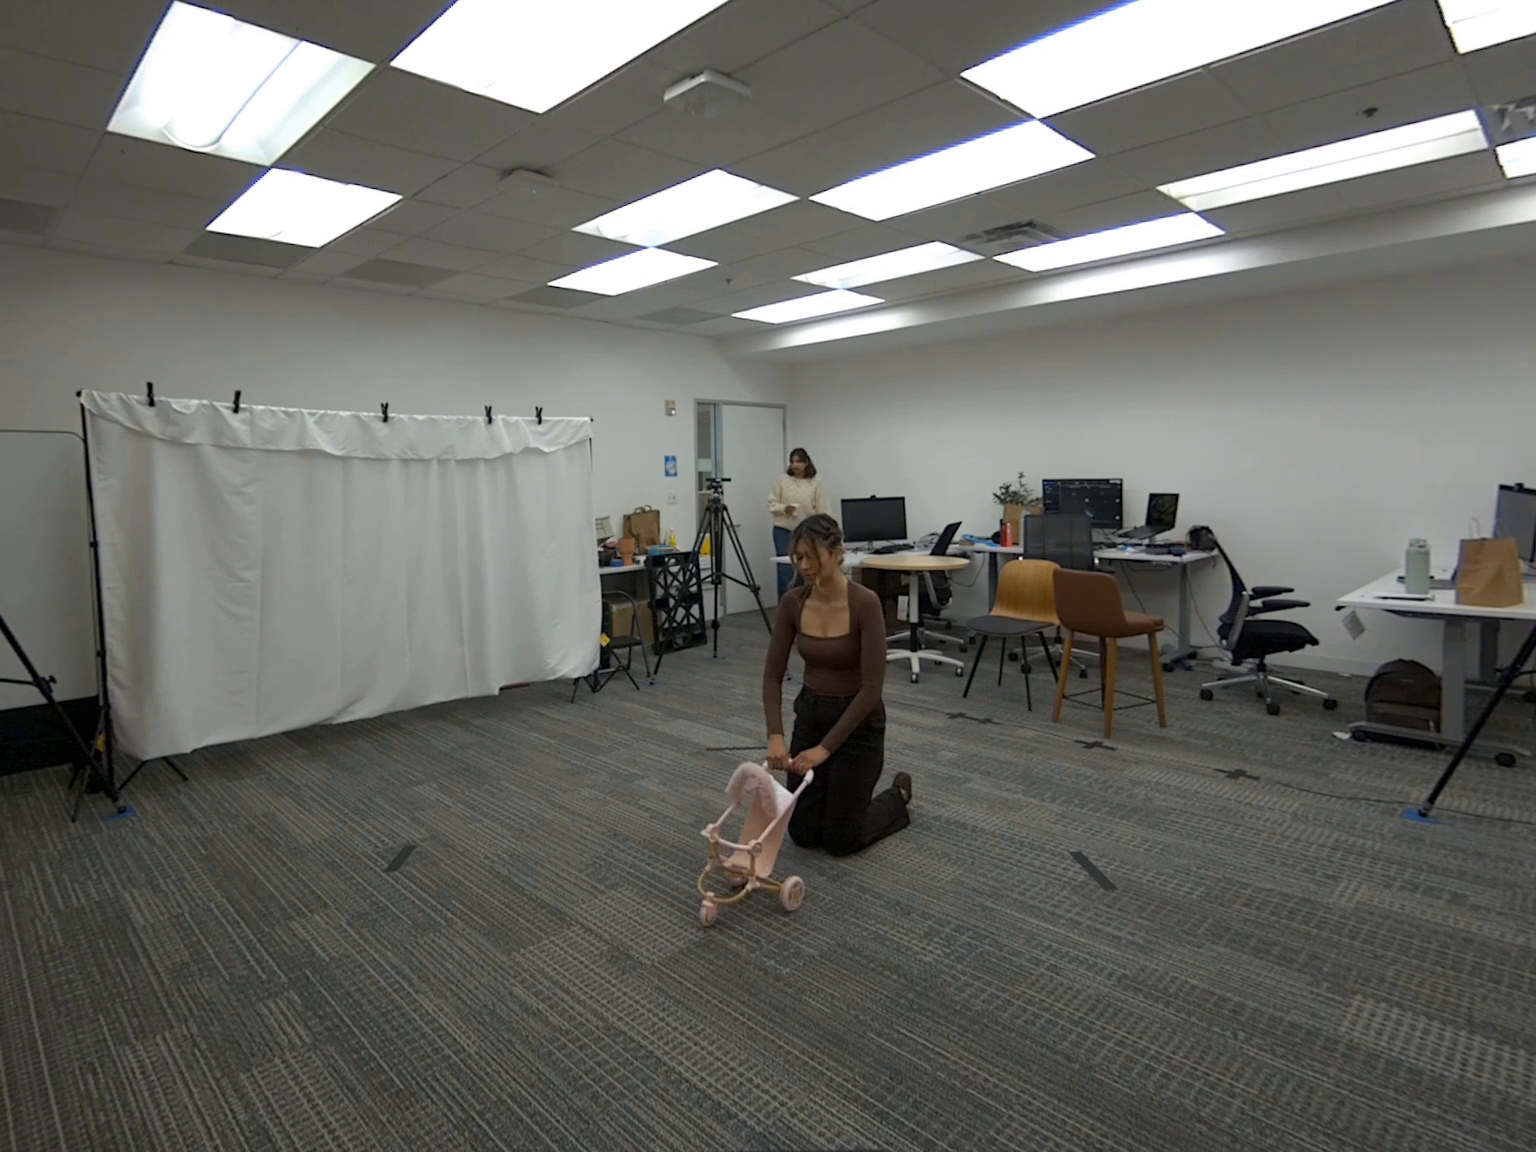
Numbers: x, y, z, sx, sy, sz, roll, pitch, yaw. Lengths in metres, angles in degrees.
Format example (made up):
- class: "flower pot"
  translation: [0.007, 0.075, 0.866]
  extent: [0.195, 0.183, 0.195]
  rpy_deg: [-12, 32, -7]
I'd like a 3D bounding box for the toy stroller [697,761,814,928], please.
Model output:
- class: "toy stroller"
  translation: [-0.059, 0.854, 2.794]
  extent: [0.329, 0.538, 0.290]
  rpy_deg: [17, -10, -40]
